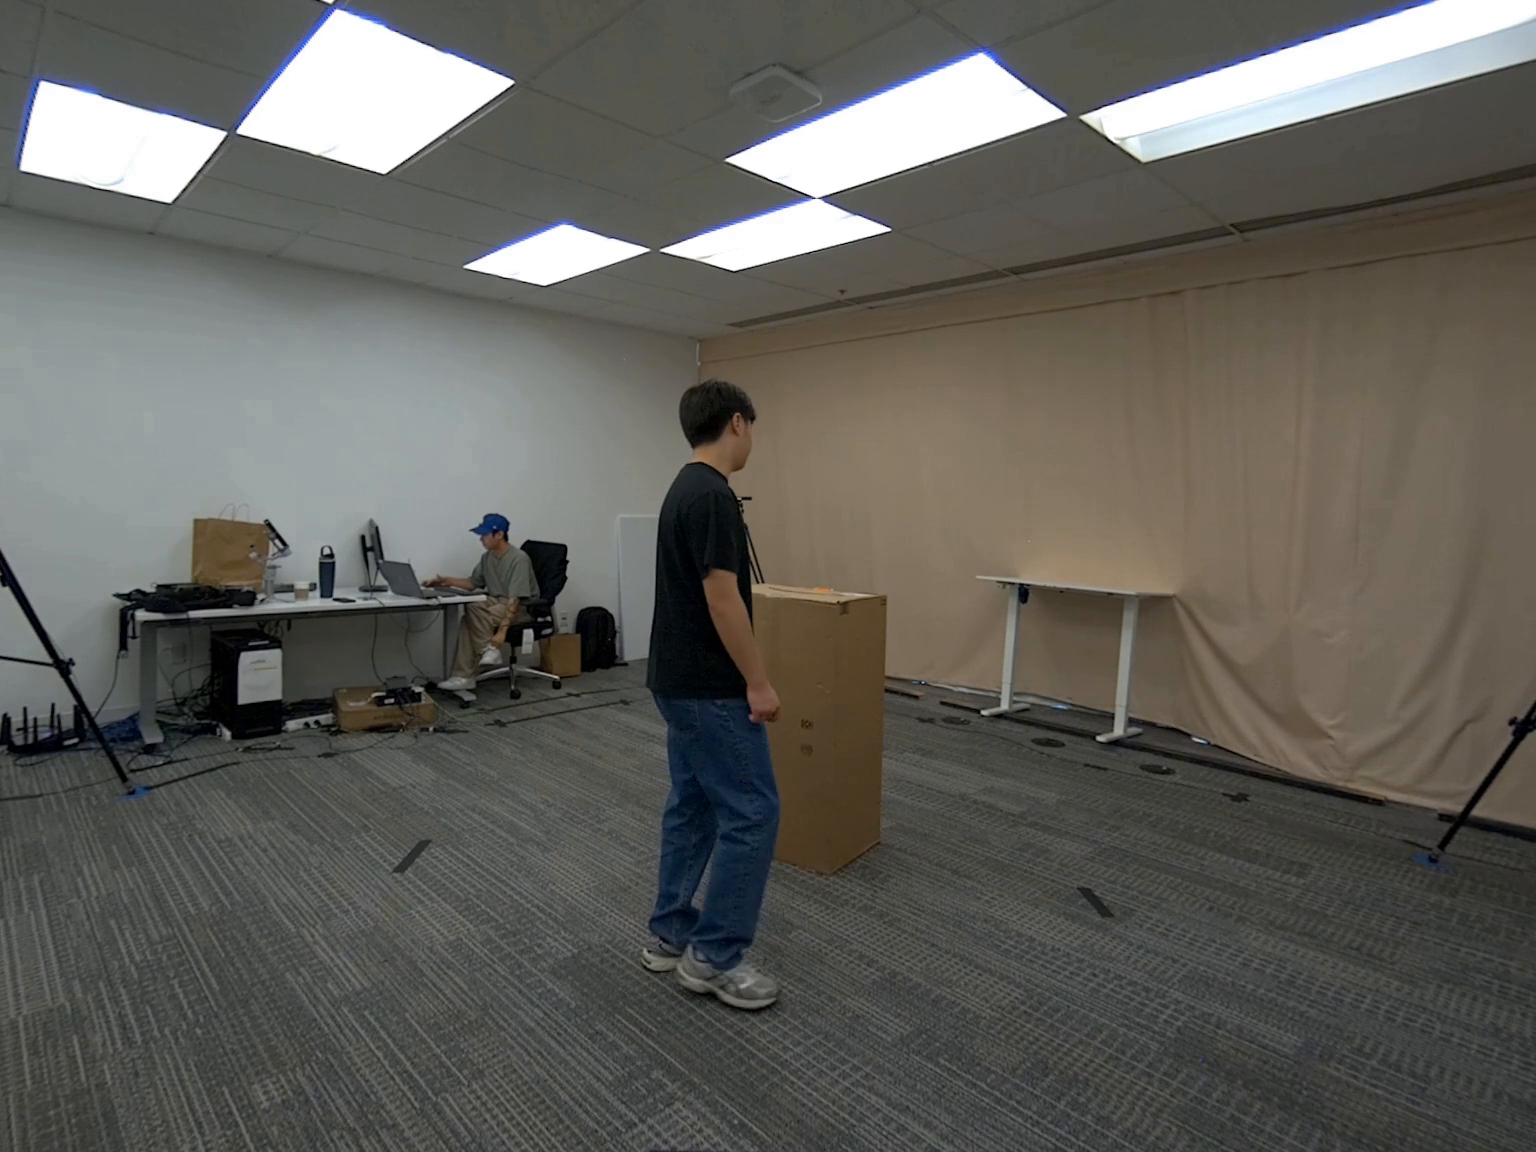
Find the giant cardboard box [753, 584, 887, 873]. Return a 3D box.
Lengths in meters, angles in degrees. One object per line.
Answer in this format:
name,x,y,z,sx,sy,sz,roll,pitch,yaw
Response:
giant cardboard box,0.120,0.573,3.433,0.598,1.025,0.437,4,3,36
